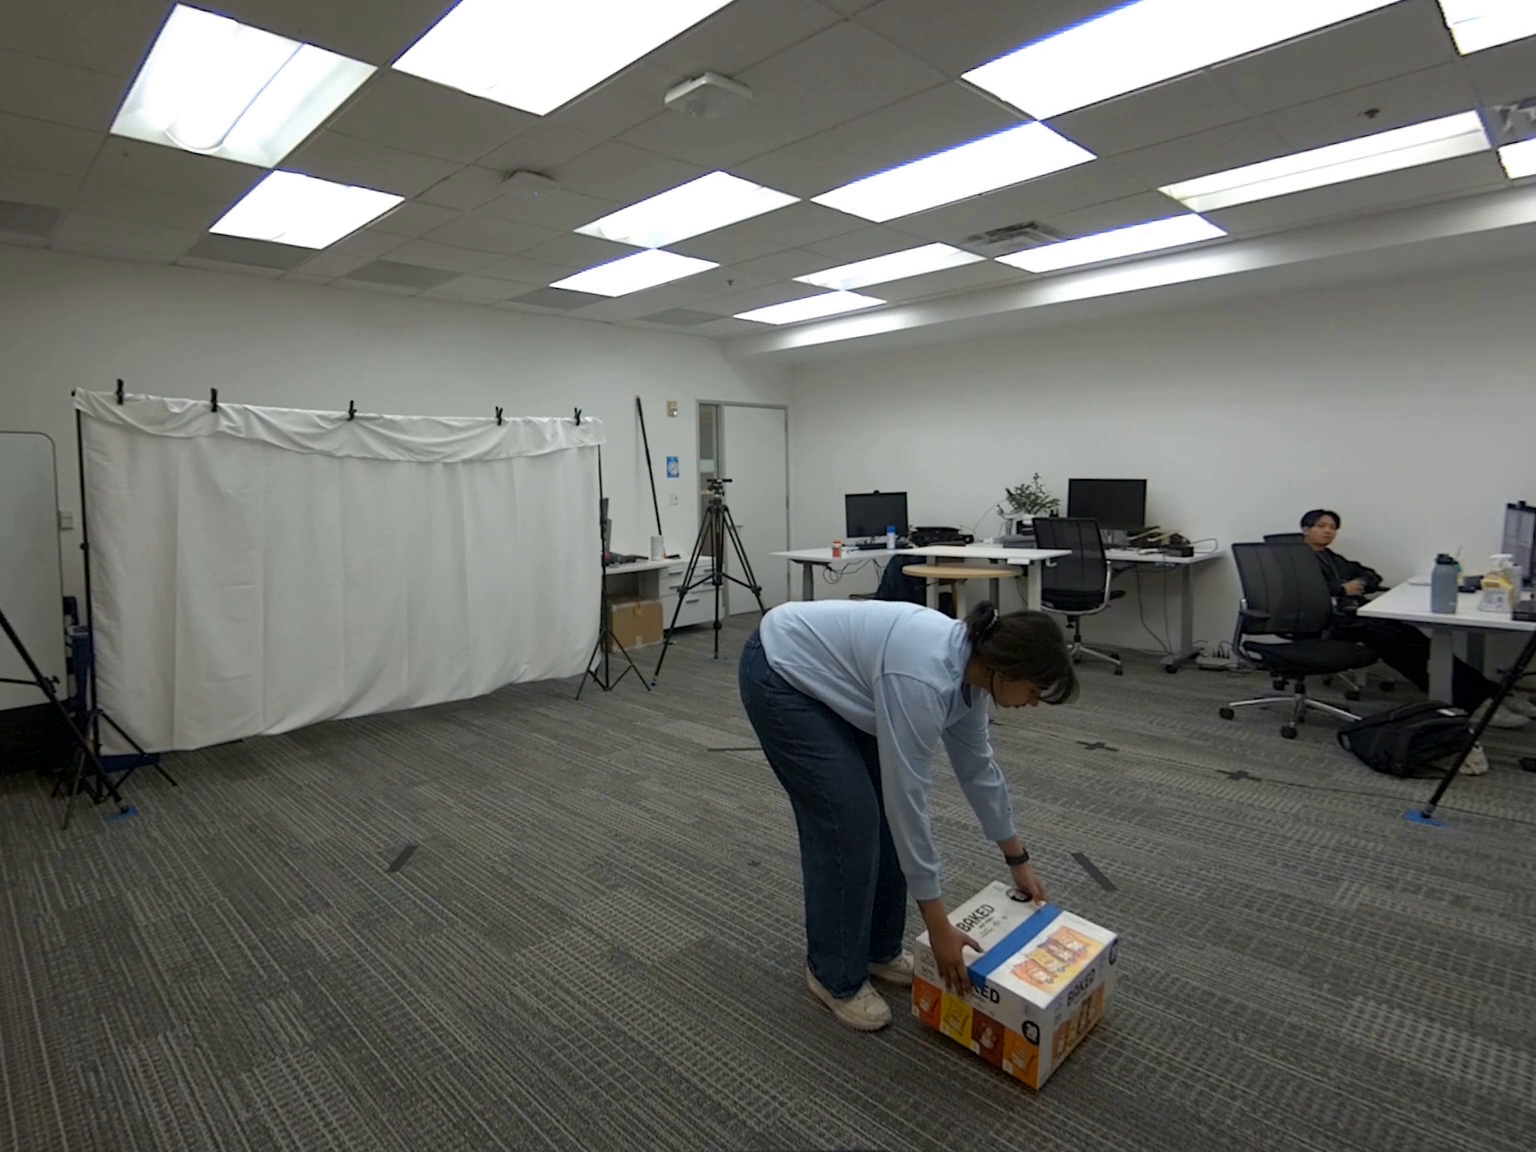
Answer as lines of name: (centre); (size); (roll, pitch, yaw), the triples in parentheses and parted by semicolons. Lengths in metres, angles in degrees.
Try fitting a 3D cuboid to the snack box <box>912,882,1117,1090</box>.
snack box: (0.626, 0.993, 2.154); (0.352, 0.204, 0.395); (10, 14, 44)
